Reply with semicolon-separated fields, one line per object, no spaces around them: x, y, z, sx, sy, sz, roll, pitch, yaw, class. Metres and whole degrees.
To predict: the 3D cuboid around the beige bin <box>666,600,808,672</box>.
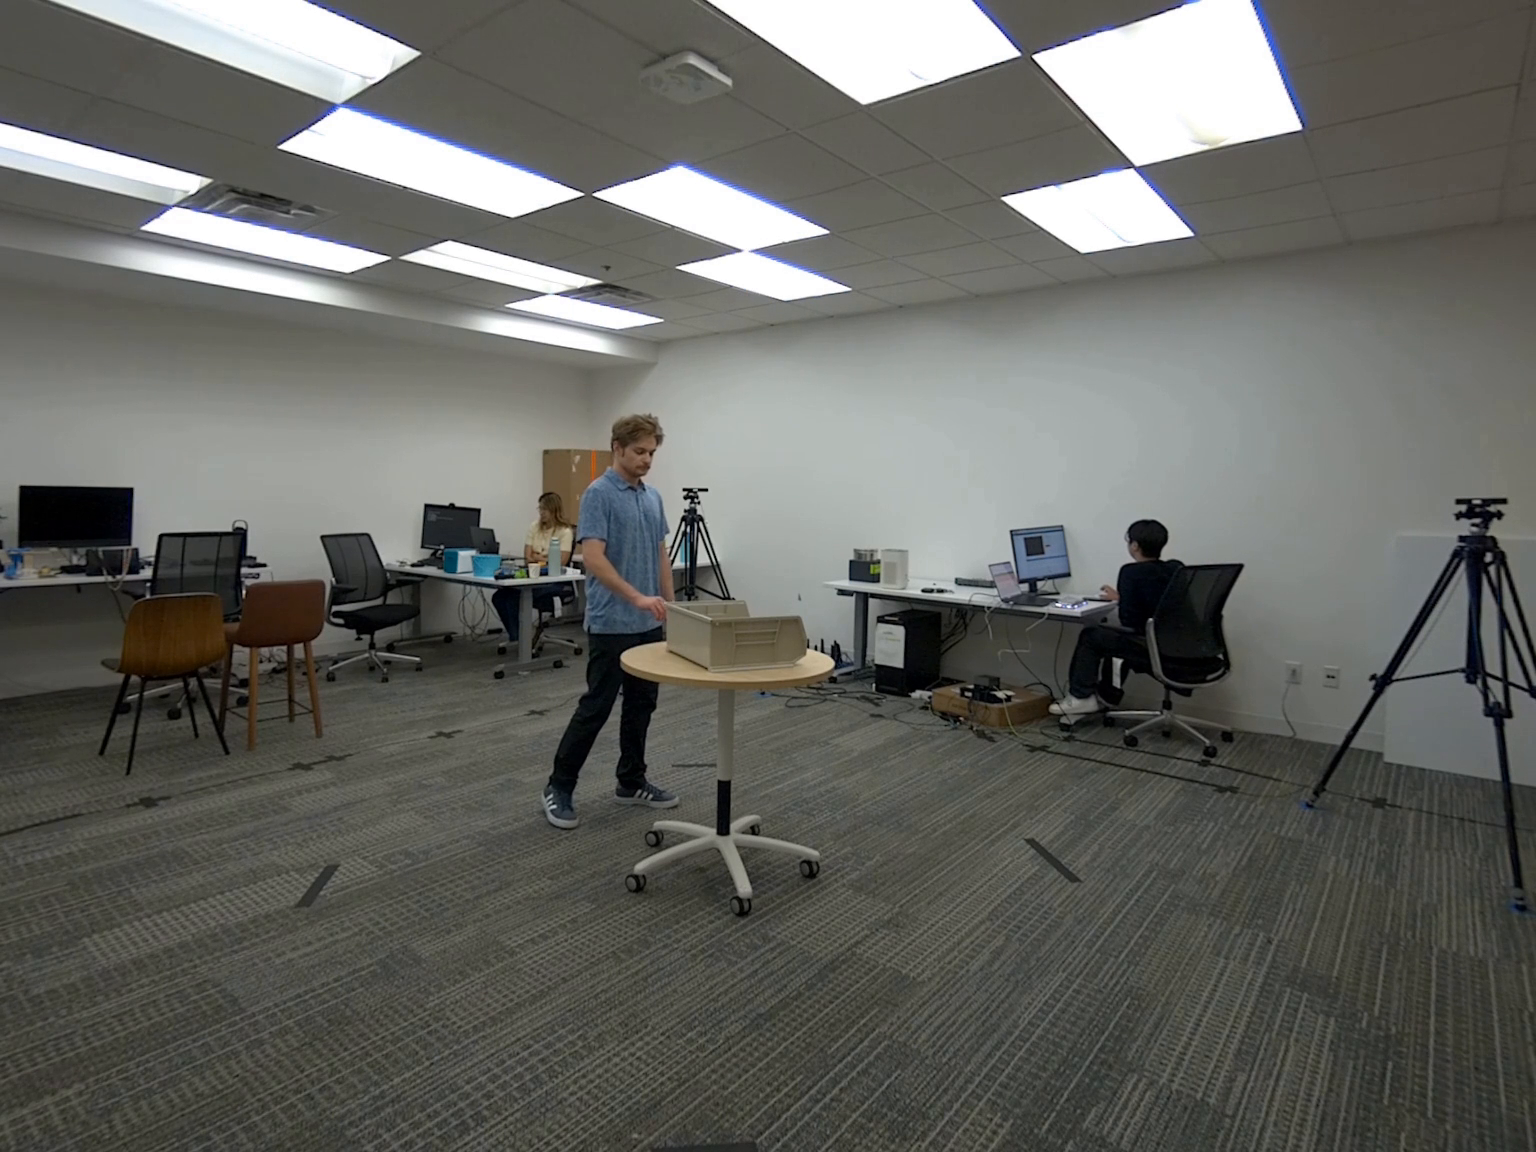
-0.133;0.204;3.044;0.368;0.188;0.434;-2;6;-27;beige bin
